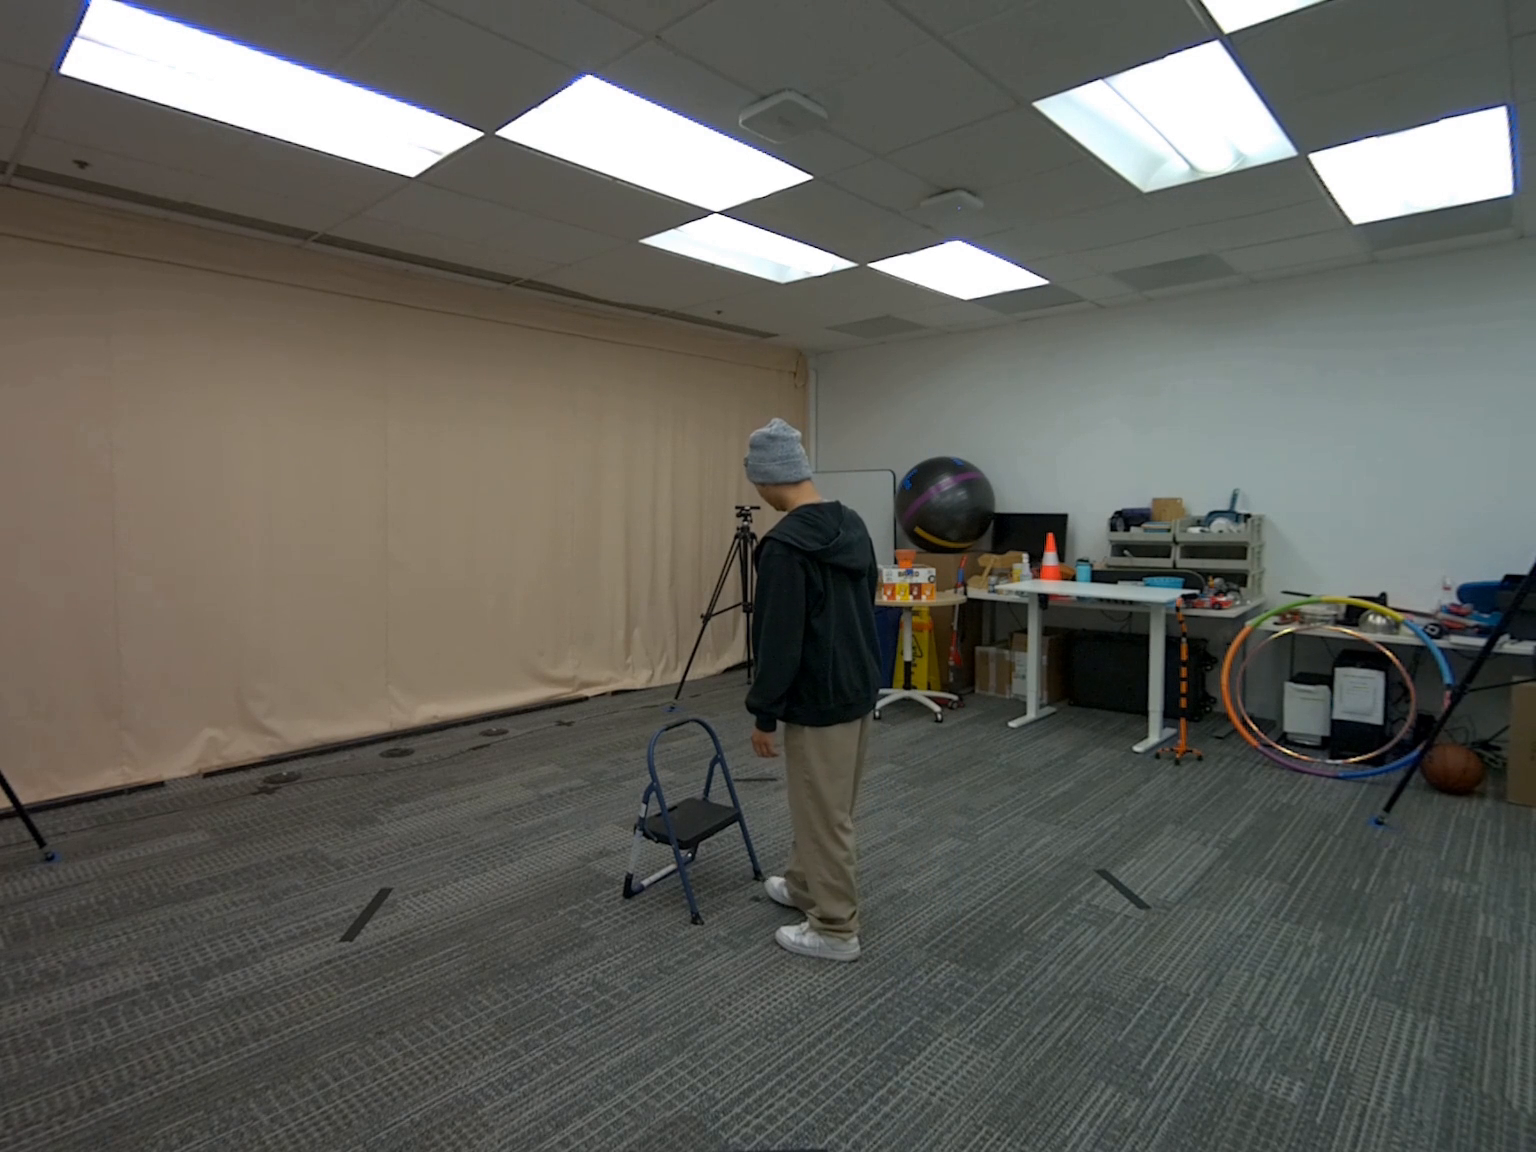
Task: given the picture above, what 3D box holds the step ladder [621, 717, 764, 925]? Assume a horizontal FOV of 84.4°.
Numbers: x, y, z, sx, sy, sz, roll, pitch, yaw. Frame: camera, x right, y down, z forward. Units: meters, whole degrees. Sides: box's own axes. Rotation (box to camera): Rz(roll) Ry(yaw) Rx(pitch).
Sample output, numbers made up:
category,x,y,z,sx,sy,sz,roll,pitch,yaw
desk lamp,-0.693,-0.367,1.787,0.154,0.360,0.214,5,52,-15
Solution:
category,x,y,z,sx,sy,sz,roll,pitch,yaw
step ladder,-0.267,0.837,3.054,0.360,0.605,0.418,2,4,33
